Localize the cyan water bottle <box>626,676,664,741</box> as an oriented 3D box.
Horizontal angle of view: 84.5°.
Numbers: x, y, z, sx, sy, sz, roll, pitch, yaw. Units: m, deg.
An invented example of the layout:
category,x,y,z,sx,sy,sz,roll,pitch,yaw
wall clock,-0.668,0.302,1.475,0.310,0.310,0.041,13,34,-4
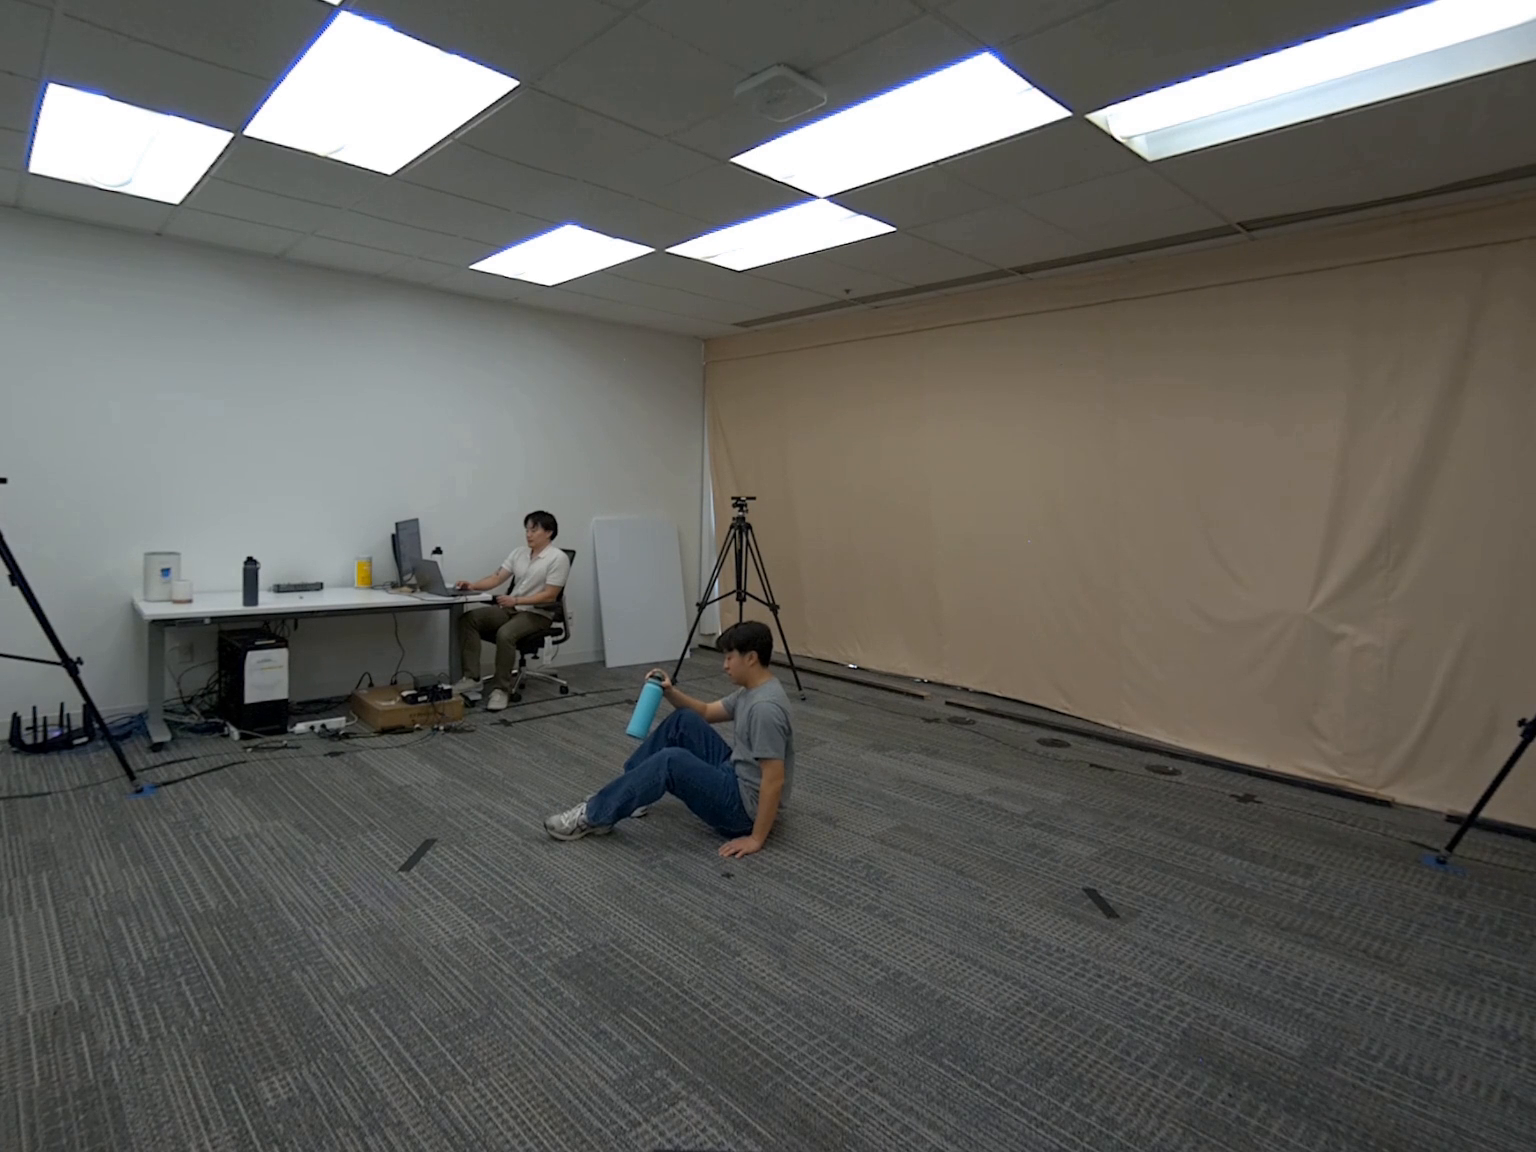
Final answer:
category,x,y,z,sx,sy,sz,roll,pitch,yaw
cyan water bottle,-0.519,0.550,3.588,0.093,0.285,0.091,17,-18,4
